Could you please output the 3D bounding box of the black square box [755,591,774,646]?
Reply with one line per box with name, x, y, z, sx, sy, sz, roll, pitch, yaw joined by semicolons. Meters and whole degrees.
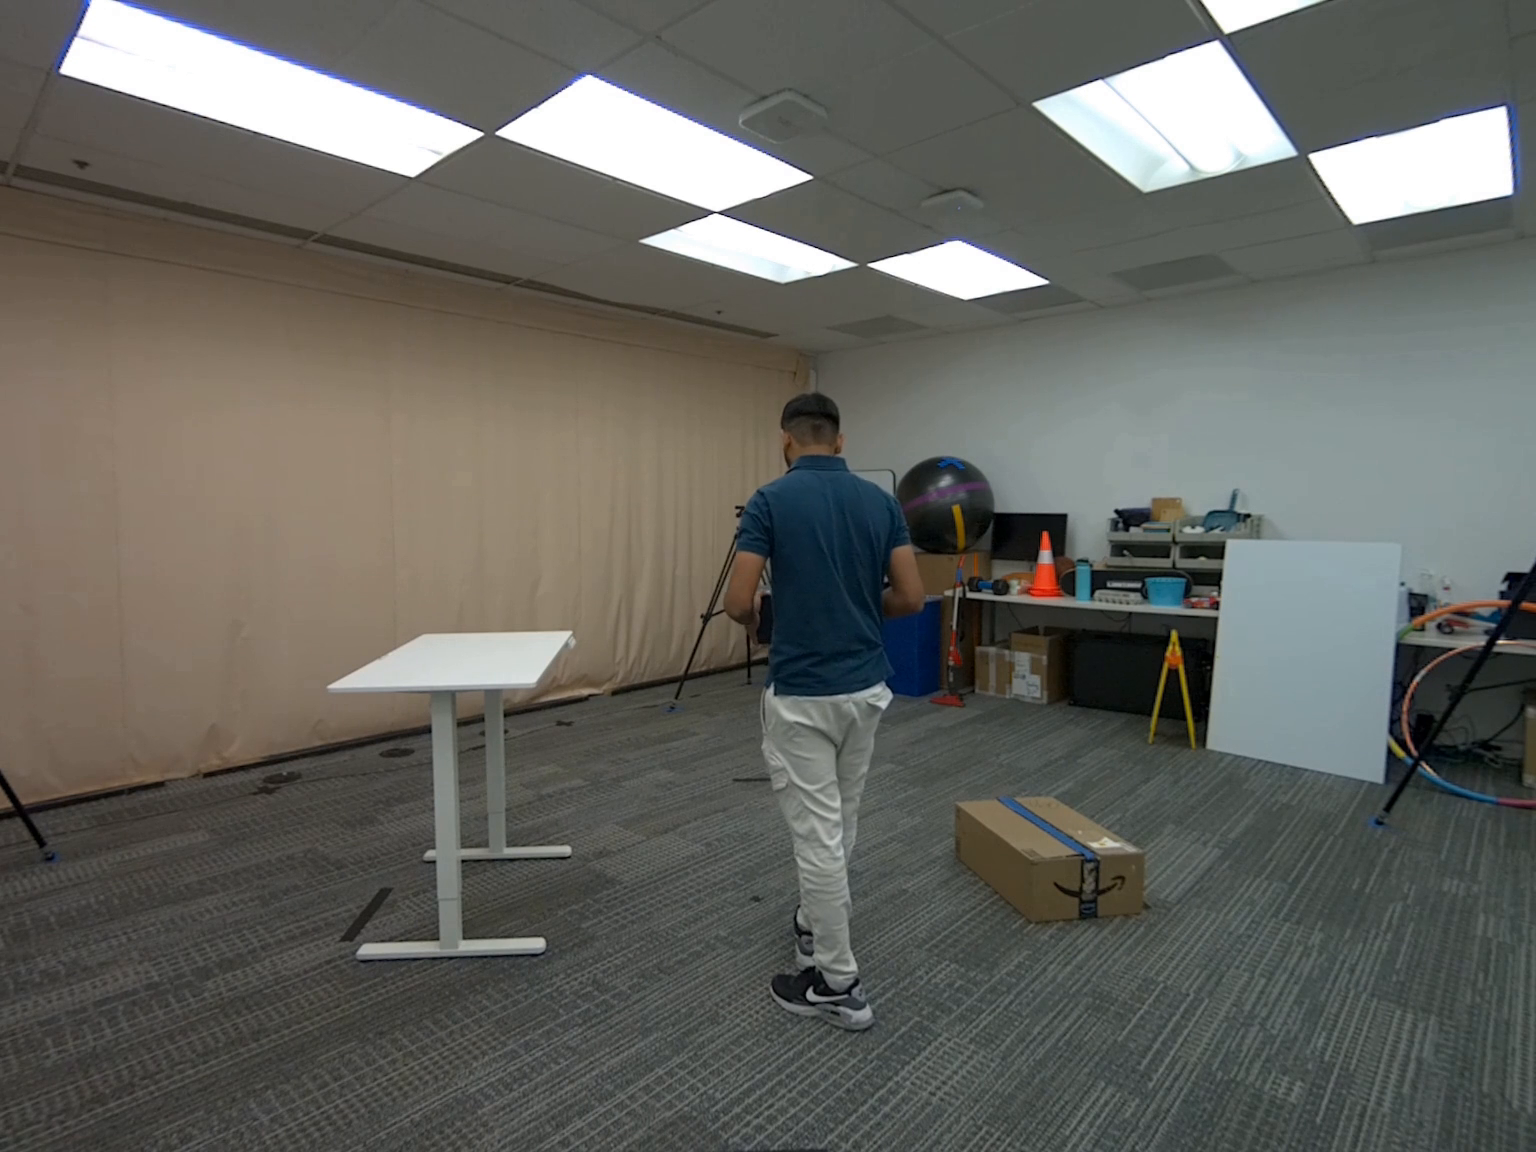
black square box;0.036;0.117;2.730;0.228;0.155;0.218;-2;7;-1
